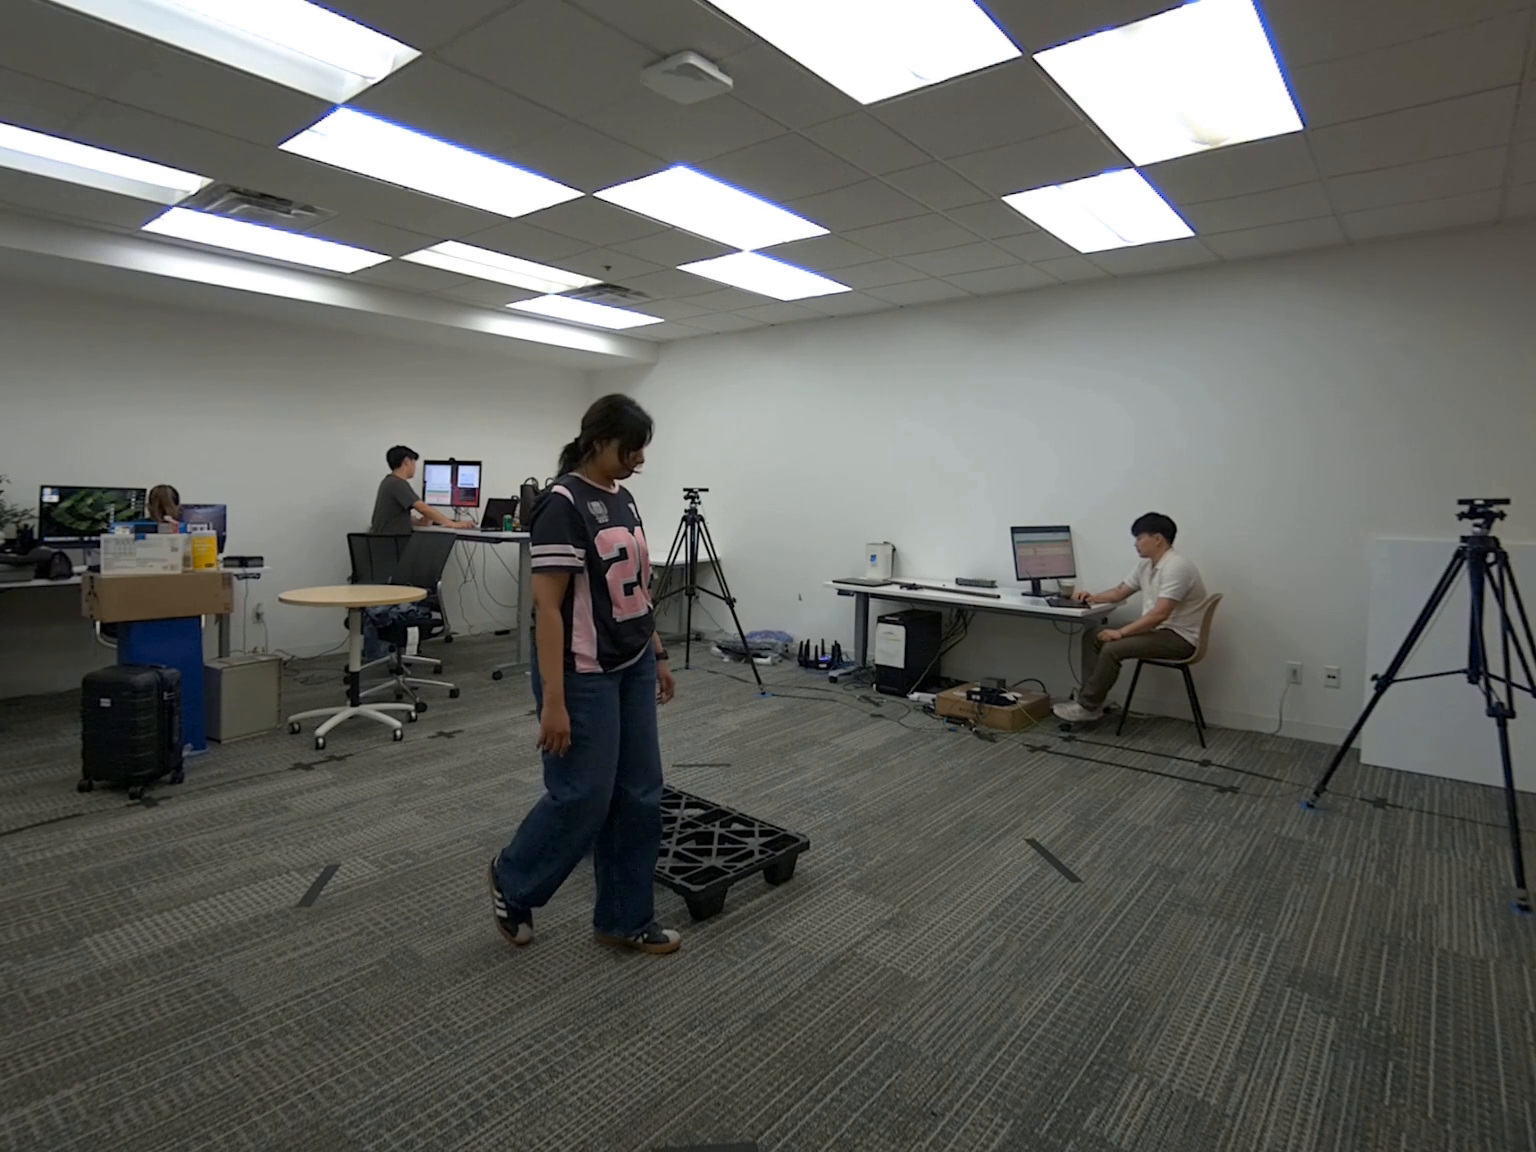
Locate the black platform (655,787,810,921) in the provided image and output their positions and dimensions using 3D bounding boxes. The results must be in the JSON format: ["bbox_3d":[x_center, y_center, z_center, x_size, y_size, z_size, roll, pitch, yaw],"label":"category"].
[{"bbox_3d":[-0.345,0.998,3.146,0.833,0.143,0.587,6,7,42],"label":"black platform"}]
